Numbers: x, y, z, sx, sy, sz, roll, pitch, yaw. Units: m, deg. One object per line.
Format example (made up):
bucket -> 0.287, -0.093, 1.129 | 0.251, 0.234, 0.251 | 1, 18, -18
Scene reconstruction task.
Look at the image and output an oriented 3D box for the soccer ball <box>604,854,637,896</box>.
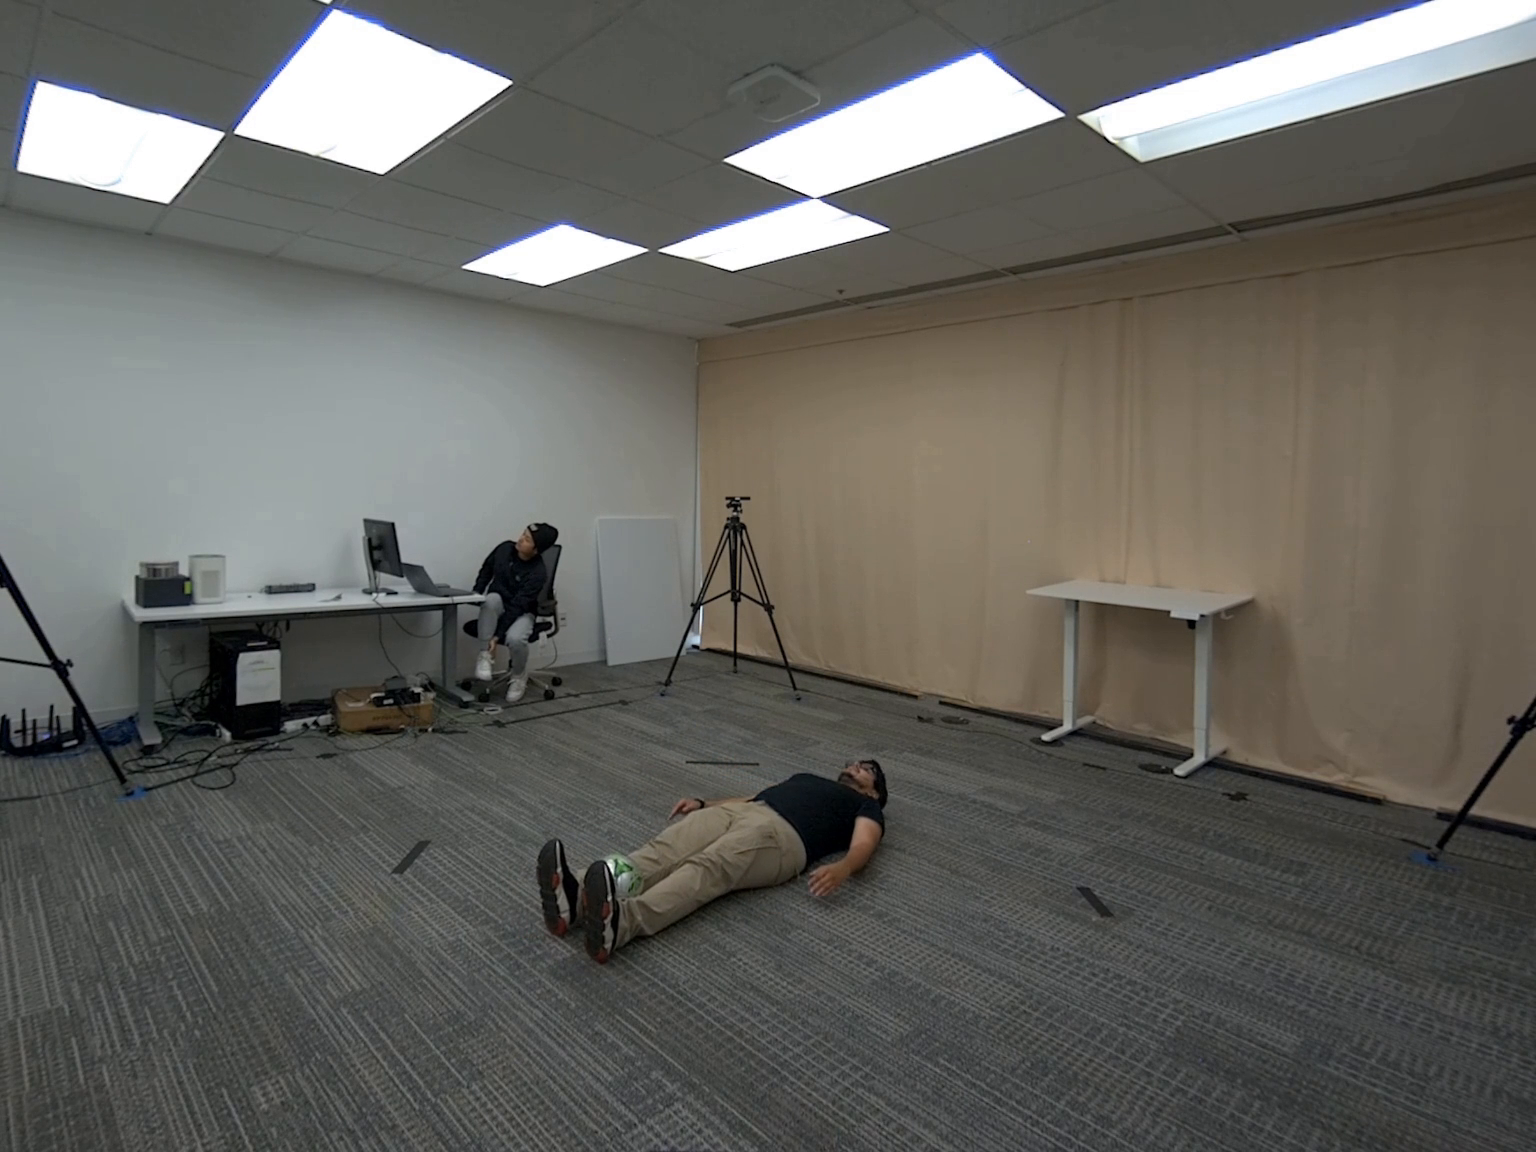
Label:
soccer ball -> -0.502, 0.998, 2.696 | 0.187, 0.187, 0.188 | 1, 5, -1
